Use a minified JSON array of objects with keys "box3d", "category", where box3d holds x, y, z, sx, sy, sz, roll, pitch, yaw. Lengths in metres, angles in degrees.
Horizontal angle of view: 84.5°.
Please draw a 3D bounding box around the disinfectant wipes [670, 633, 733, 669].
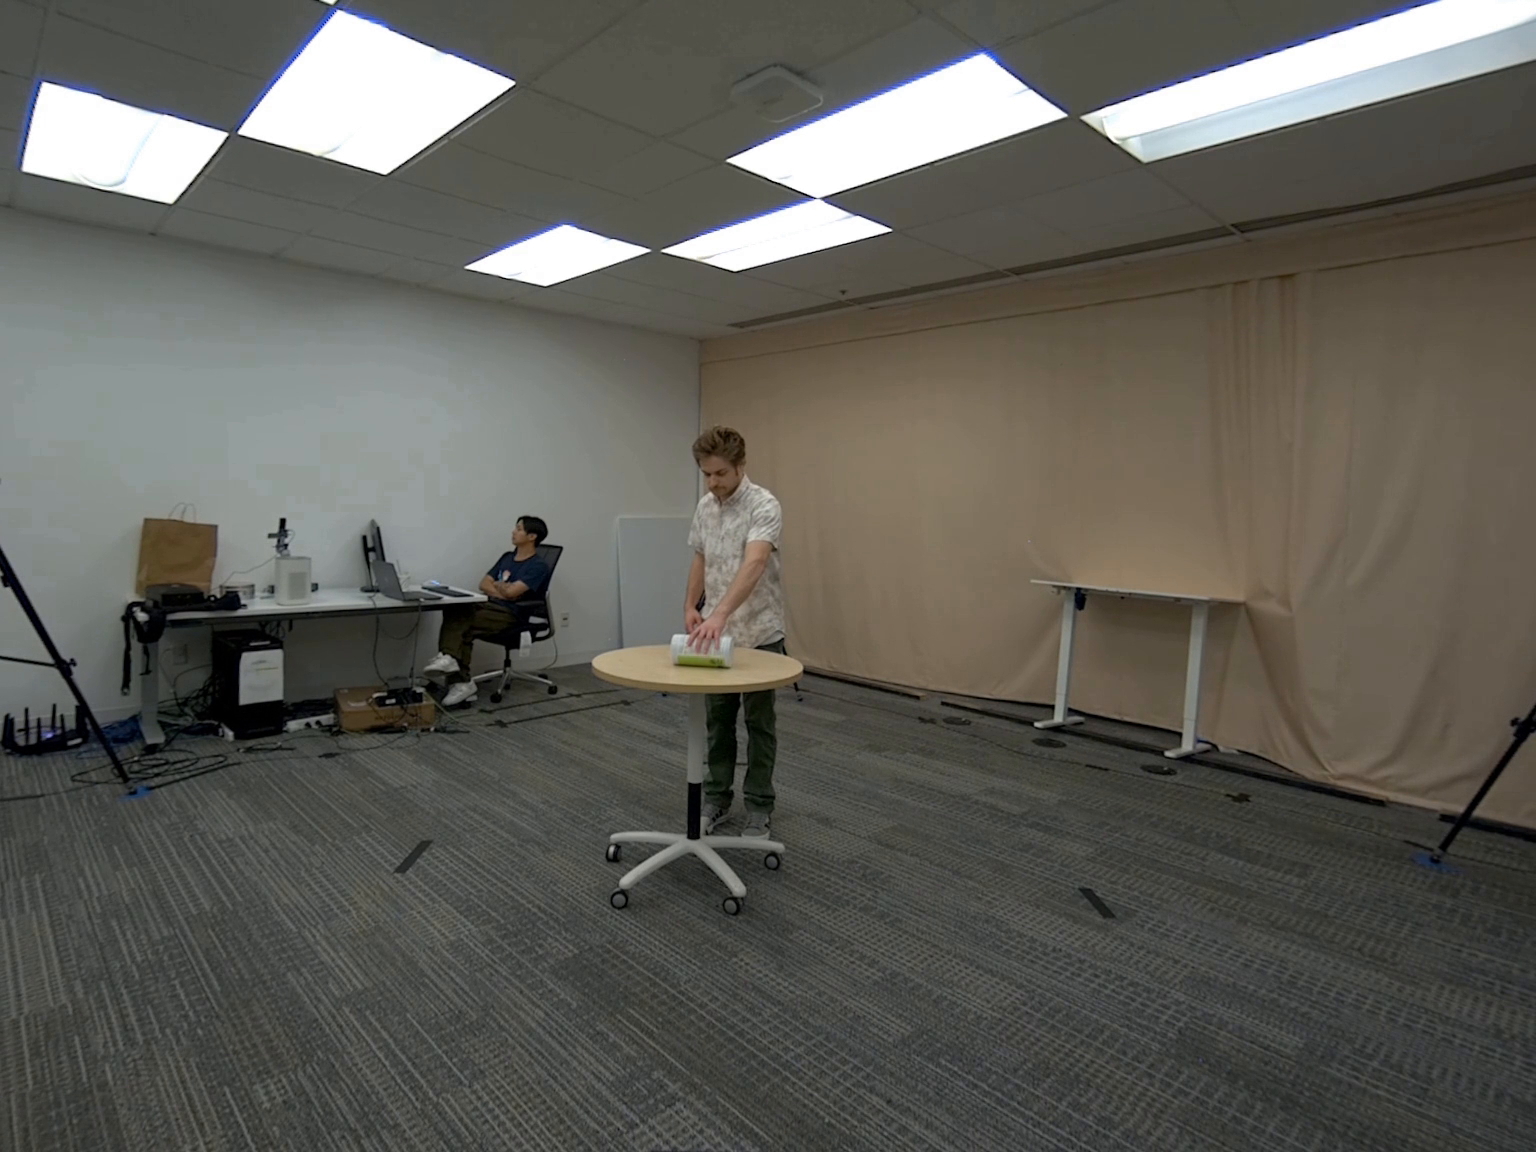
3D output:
[{"box3d":[-0.248,0.268,2.999,0.217,0.117,0.118,0,4,-1],"category":"disinfectant wipes"}]
